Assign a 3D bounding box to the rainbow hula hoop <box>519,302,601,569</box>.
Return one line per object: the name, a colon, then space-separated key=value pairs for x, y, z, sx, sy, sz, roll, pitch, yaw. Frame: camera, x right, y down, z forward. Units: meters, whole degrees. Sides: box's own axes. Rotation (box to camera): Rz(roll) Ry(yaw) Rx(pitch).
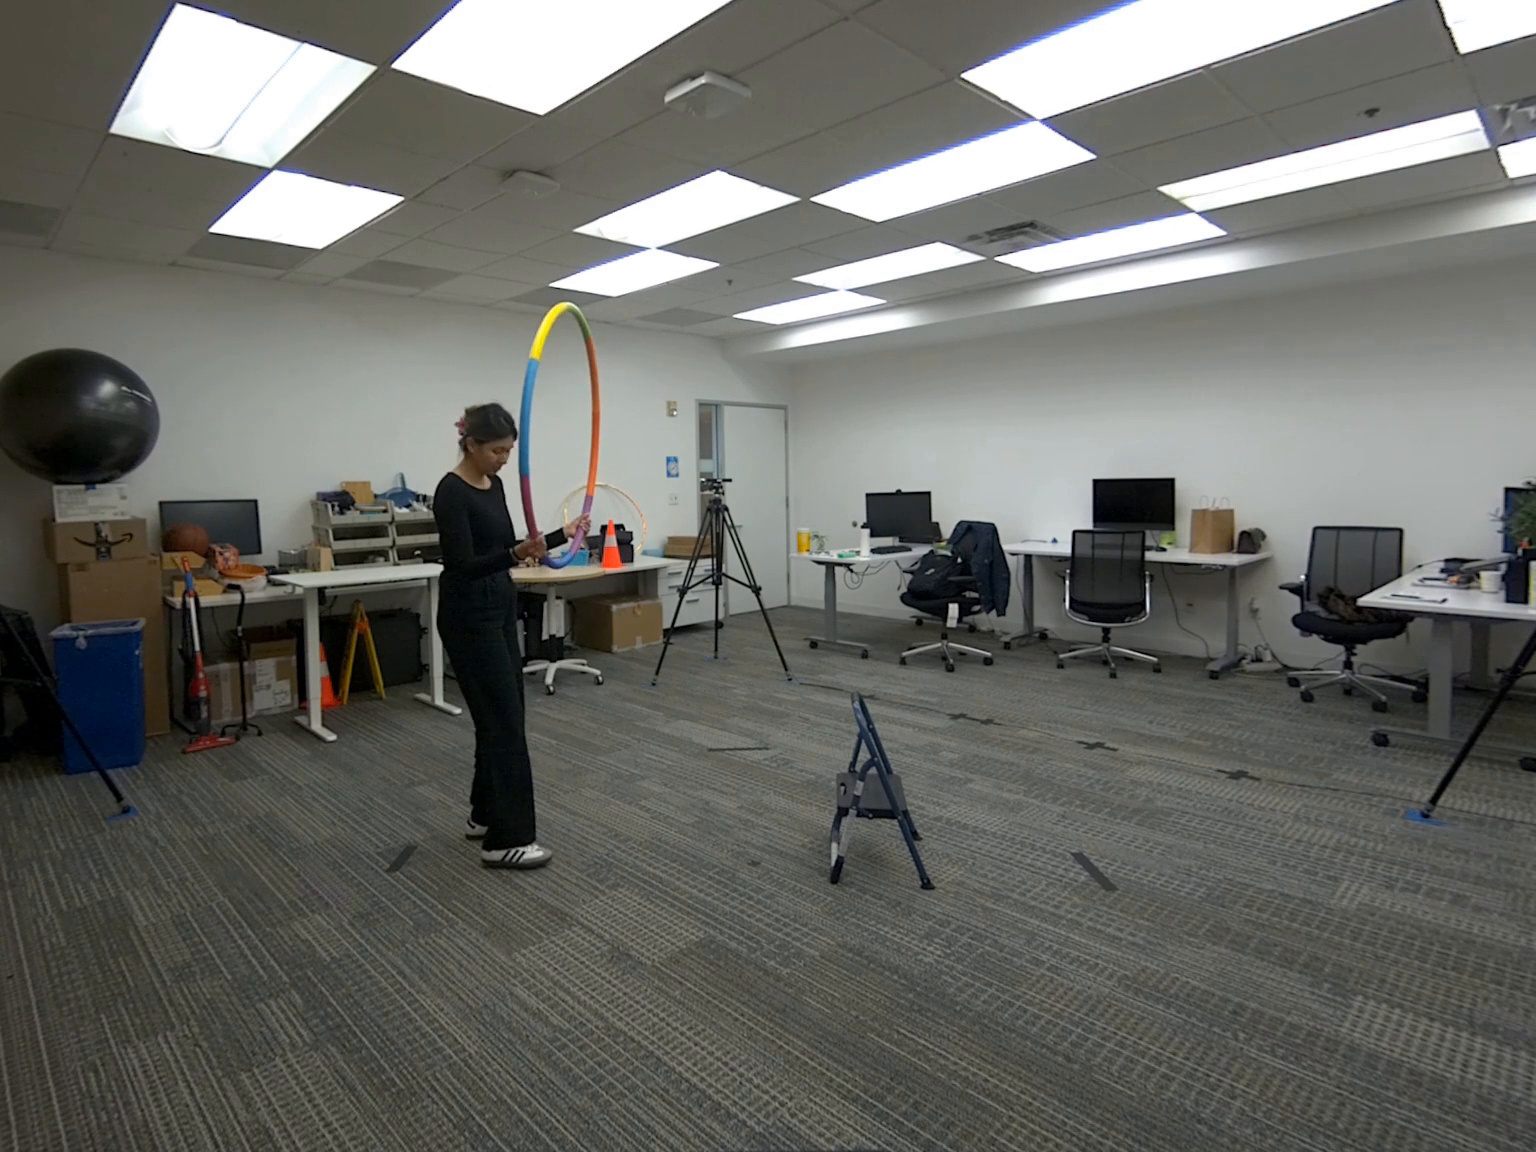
rainbow hula hoop: x=-0.759 y=-0.511 z=3.187 sx=0.036 sy=0.975 sz=0.978 roll=4 pitch=5 yaw=3
